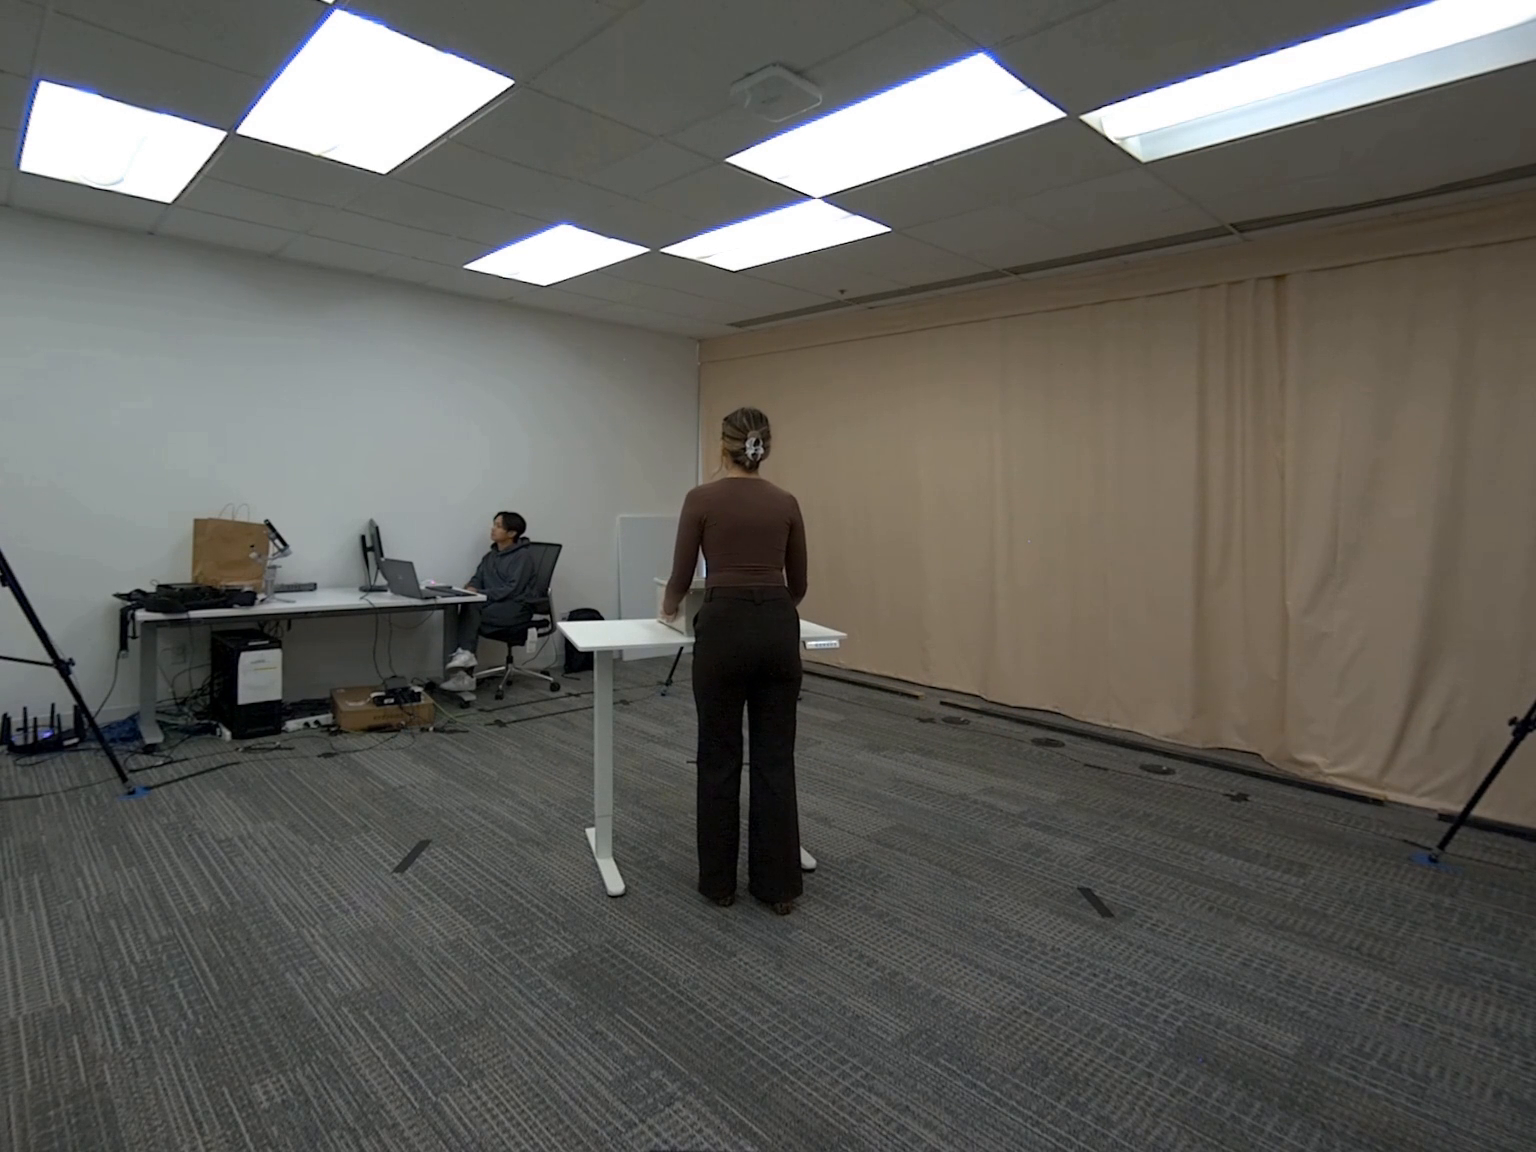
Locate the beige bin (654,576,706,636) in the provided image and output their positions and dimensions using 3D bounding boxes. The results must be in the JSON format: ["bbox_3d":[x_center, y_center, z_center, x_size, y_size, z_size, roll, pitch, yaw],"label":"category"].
[{"bbox_3d":[-0.223,0.117,3.312,0.371,0.188,0.431,-2,6,-23],"label":"beige bin"}]
